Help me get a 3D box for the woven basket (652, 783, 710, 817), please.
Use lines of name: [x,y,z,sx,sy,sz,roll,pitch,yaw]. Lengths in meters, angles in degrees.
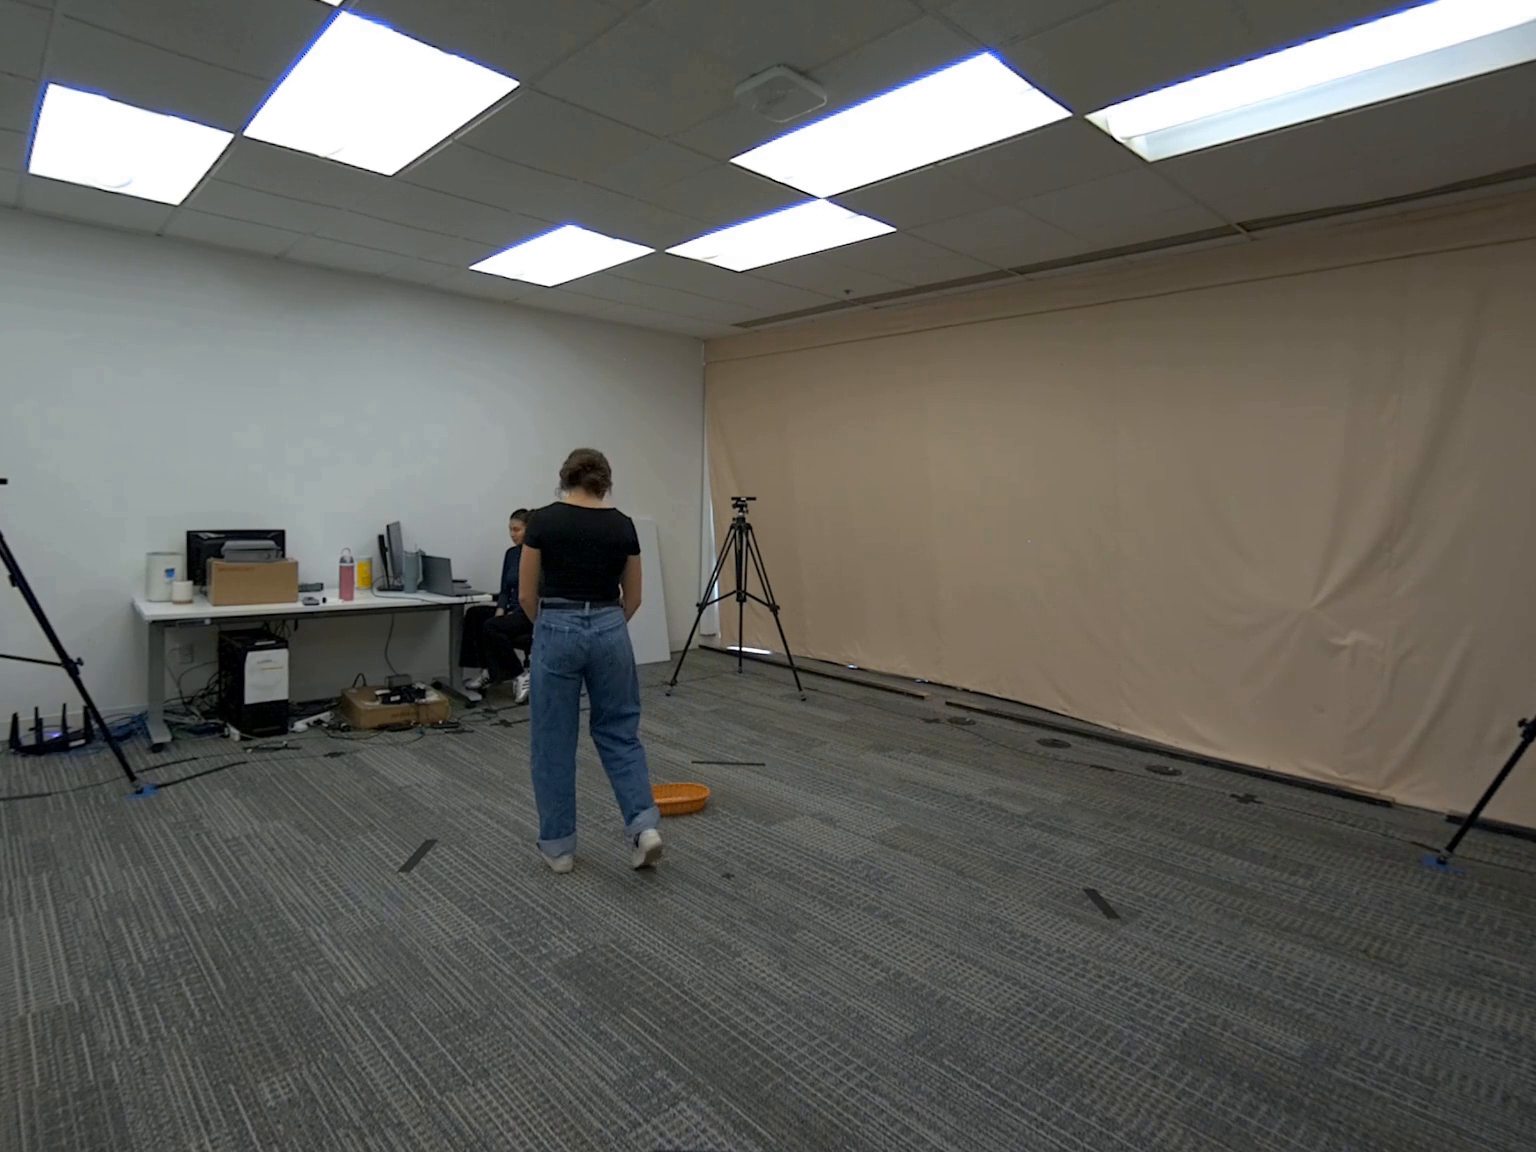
woven basket: [-0.438,1.001,3.779,0.345,0.073,0.257,-1,4,-22]
